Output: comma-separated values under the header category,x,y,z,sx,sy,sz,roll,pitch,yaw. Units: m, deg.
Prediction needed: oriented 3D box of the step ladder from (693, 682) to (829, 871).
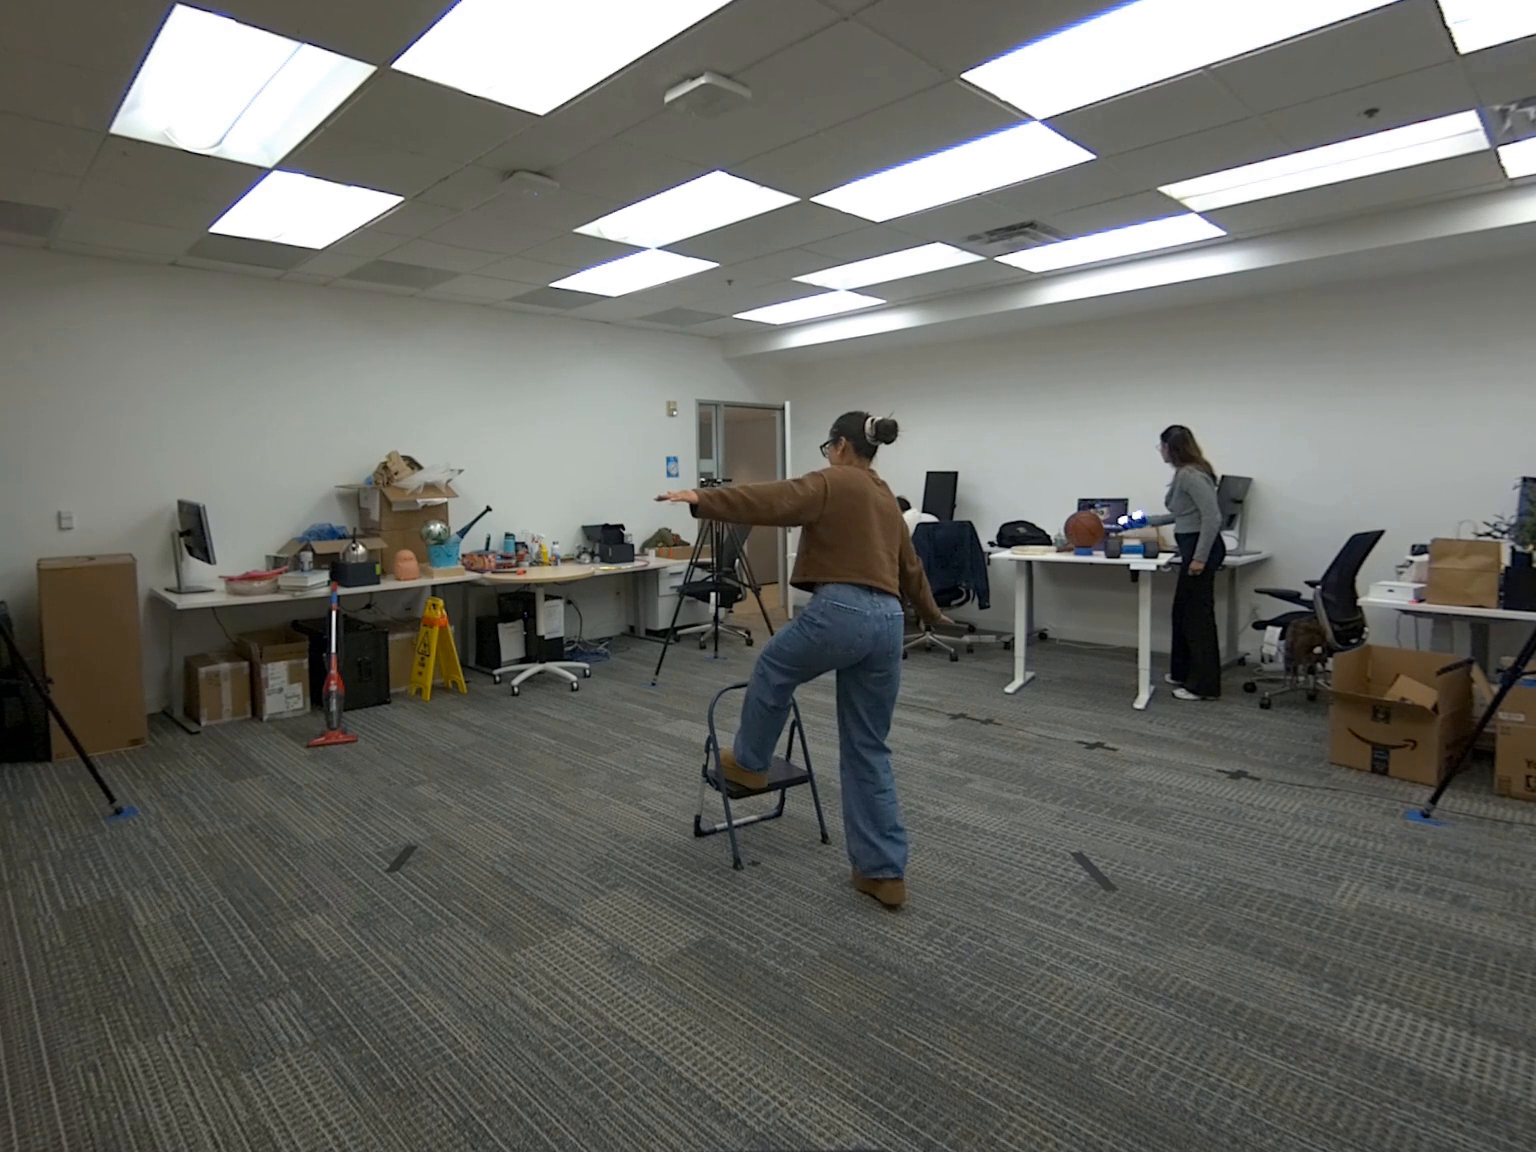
category,x,y,z,sx,sy,sz,roll,pitch,yaw
step ladder,-0.031,0.719,3.292,0.420,0.604,0.359,-4,5,-33
